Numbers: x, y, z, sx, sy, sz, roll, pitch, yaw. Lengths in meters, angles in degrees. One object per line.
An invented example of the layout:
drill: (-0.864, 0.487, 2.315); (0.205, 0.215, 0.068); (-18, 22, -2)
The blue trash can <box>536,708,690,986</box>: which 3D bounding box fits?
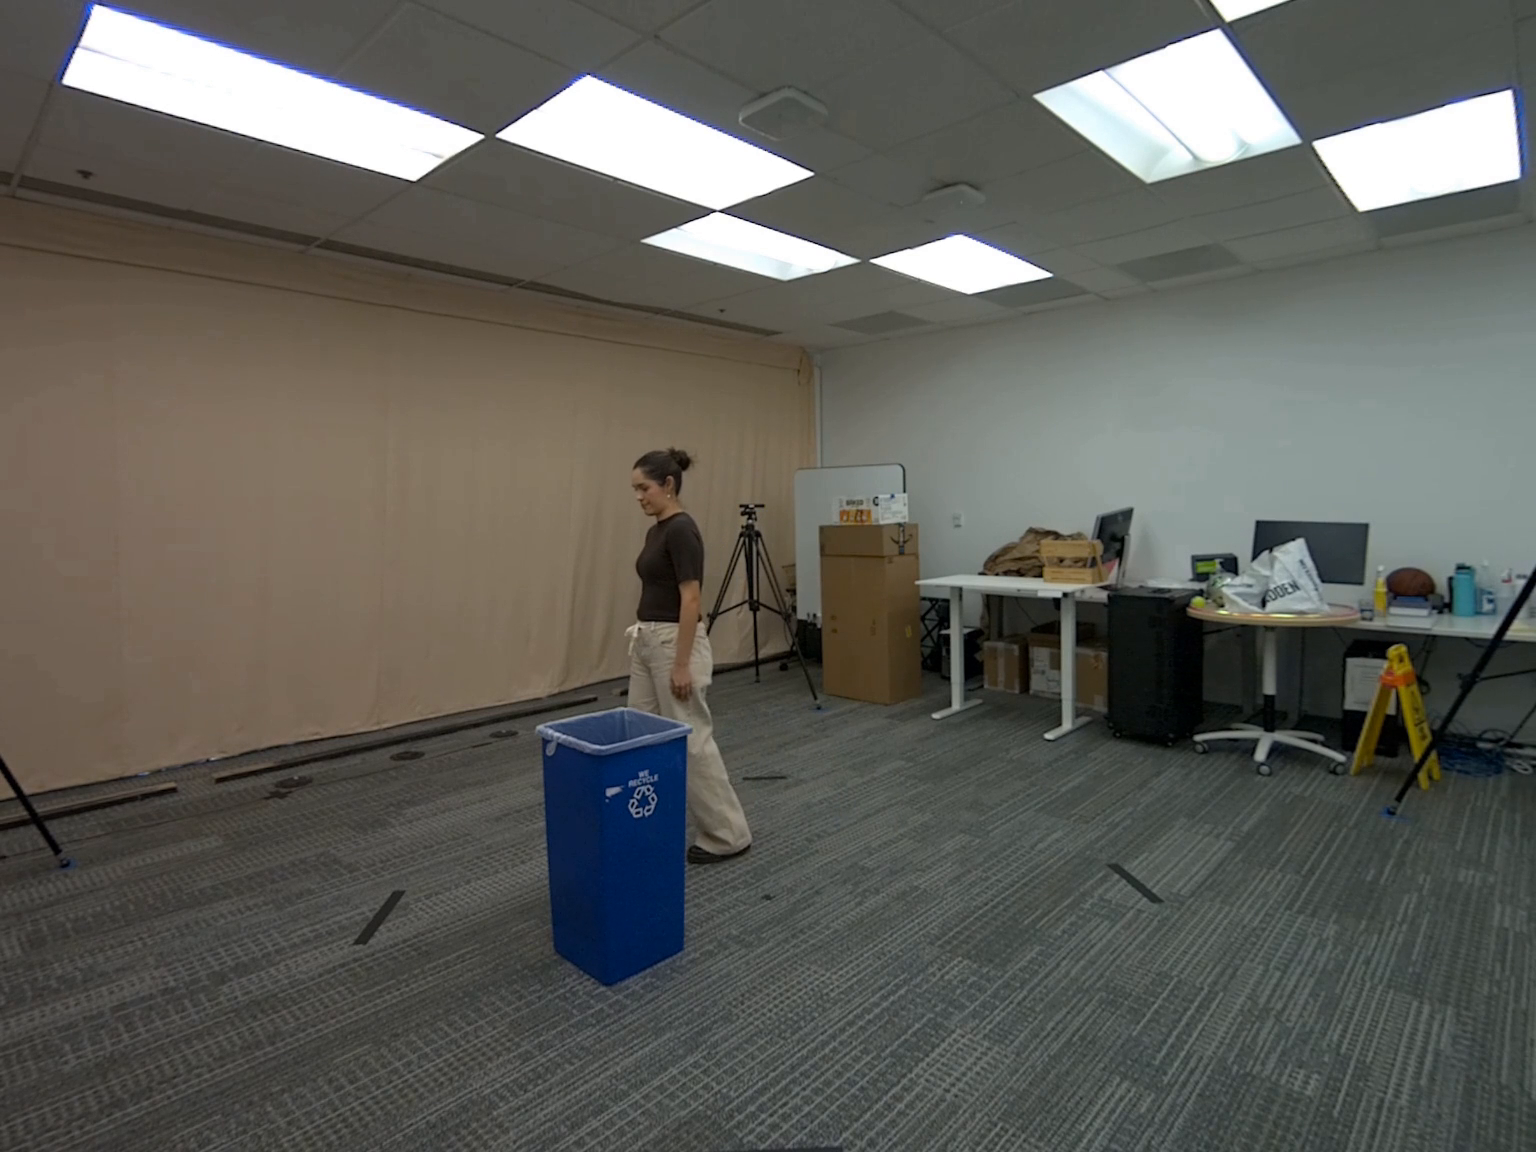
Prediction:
blue trash can: (-0.467, 0.817, 2.634); (0.366, 0.712, 0.386); (-3, 3, -44)
